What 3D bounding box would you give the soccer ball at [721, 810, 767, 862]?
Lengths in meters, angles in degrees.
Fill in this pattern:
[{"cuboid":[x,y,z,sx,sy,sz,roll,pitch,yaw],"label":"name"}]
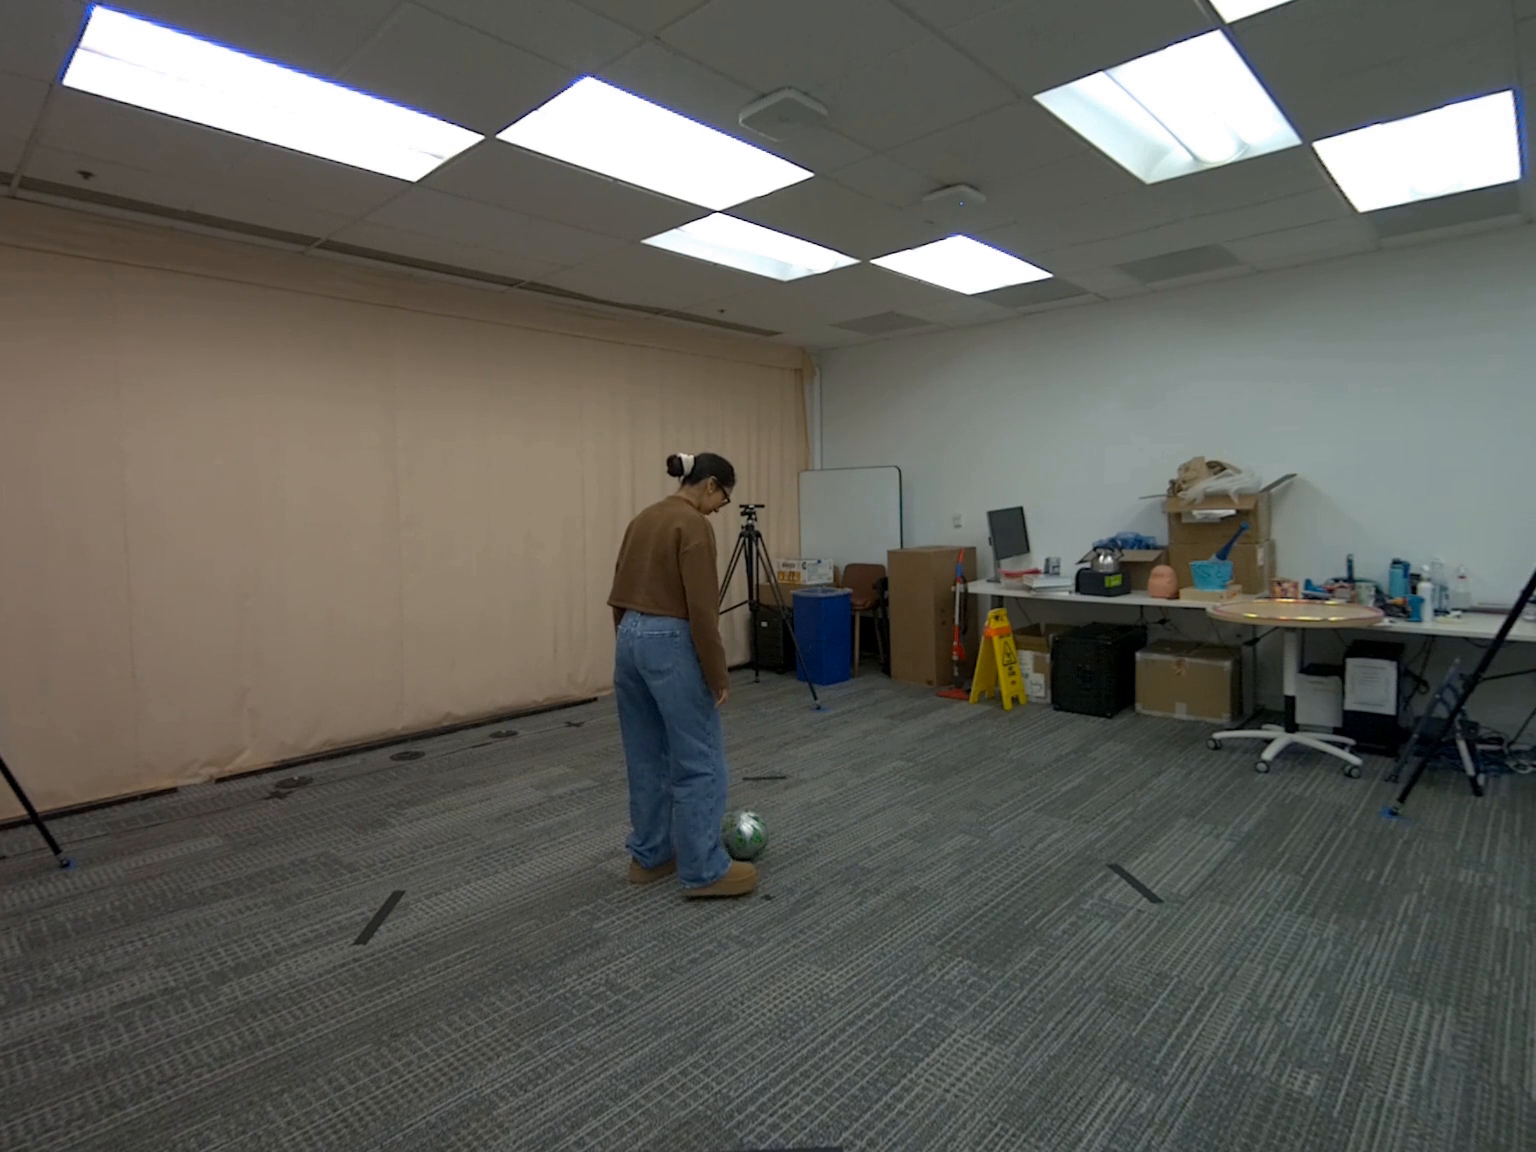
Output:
[{"cuboid":[-0.086,1.020,3.313,0.187,0.187,0.188,-1,4,-2],"label":"soccer ball"}]
